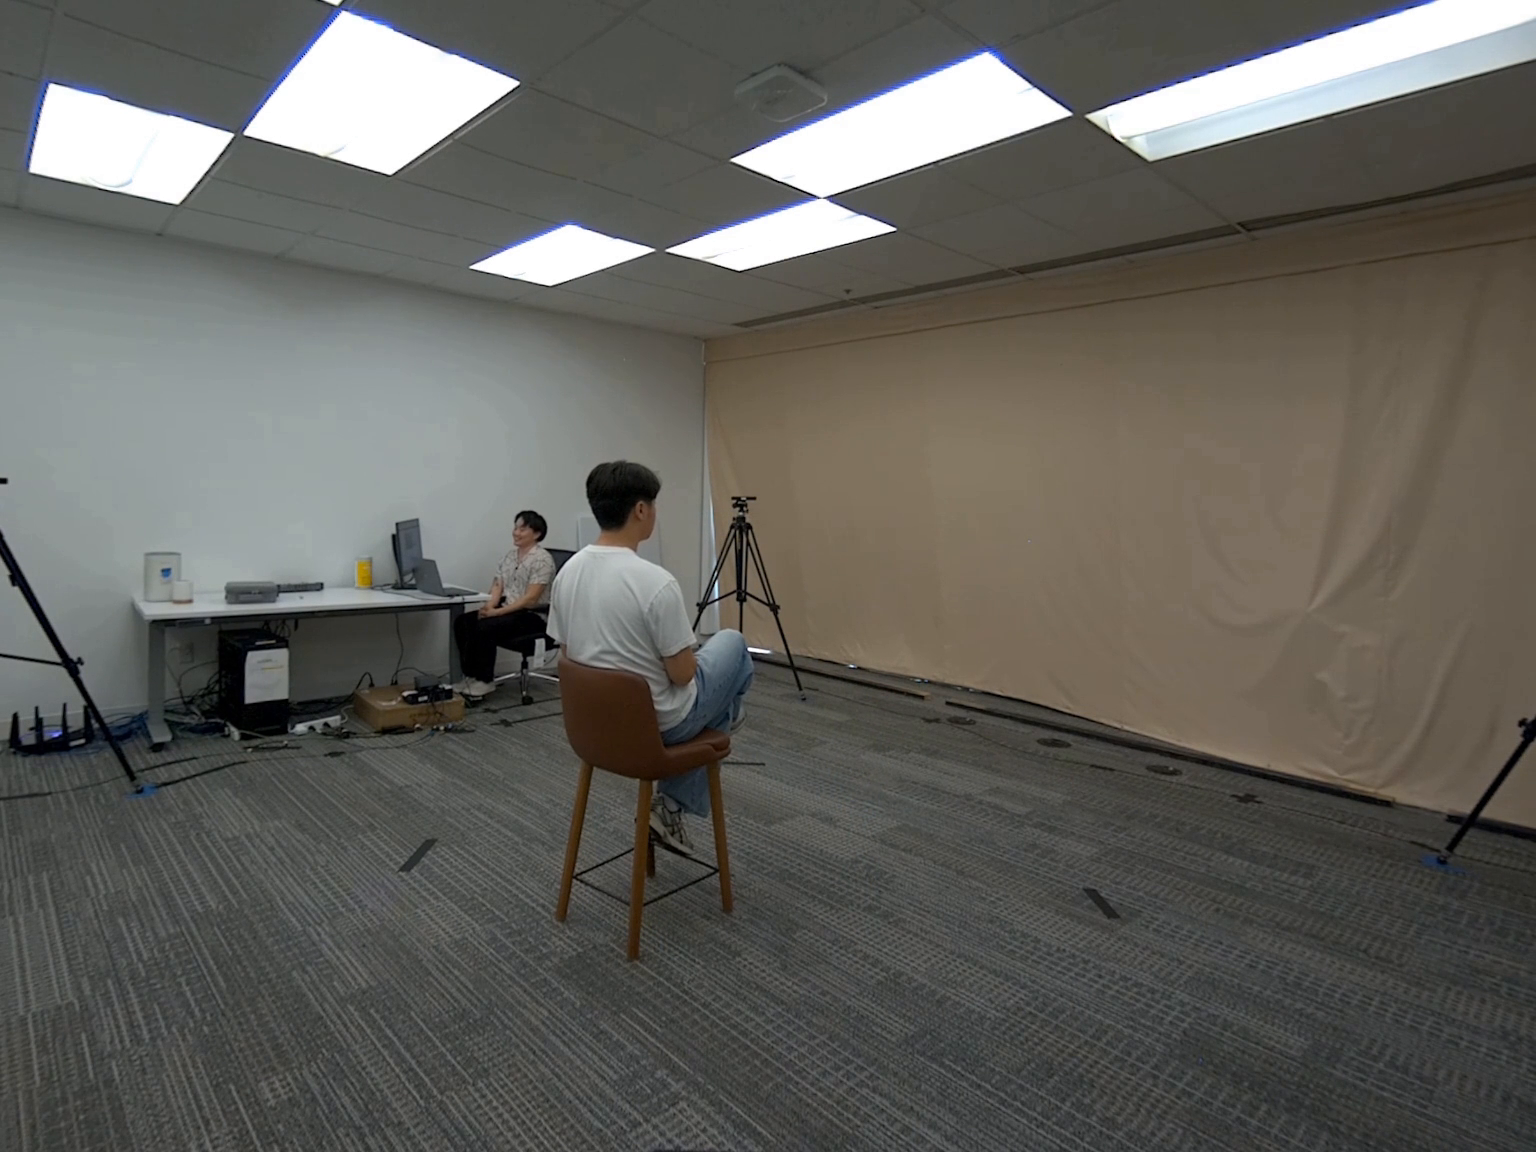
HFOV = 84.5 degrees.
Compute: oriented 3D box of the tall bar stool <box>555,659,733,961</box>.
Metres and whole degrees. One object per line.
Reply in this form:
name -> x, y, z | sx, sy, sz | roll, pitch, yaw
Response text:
tall bar stool -> -0.421, 0.699, 2.771 | 0.468, 0.887, 0.458 | 3, 6, 40
